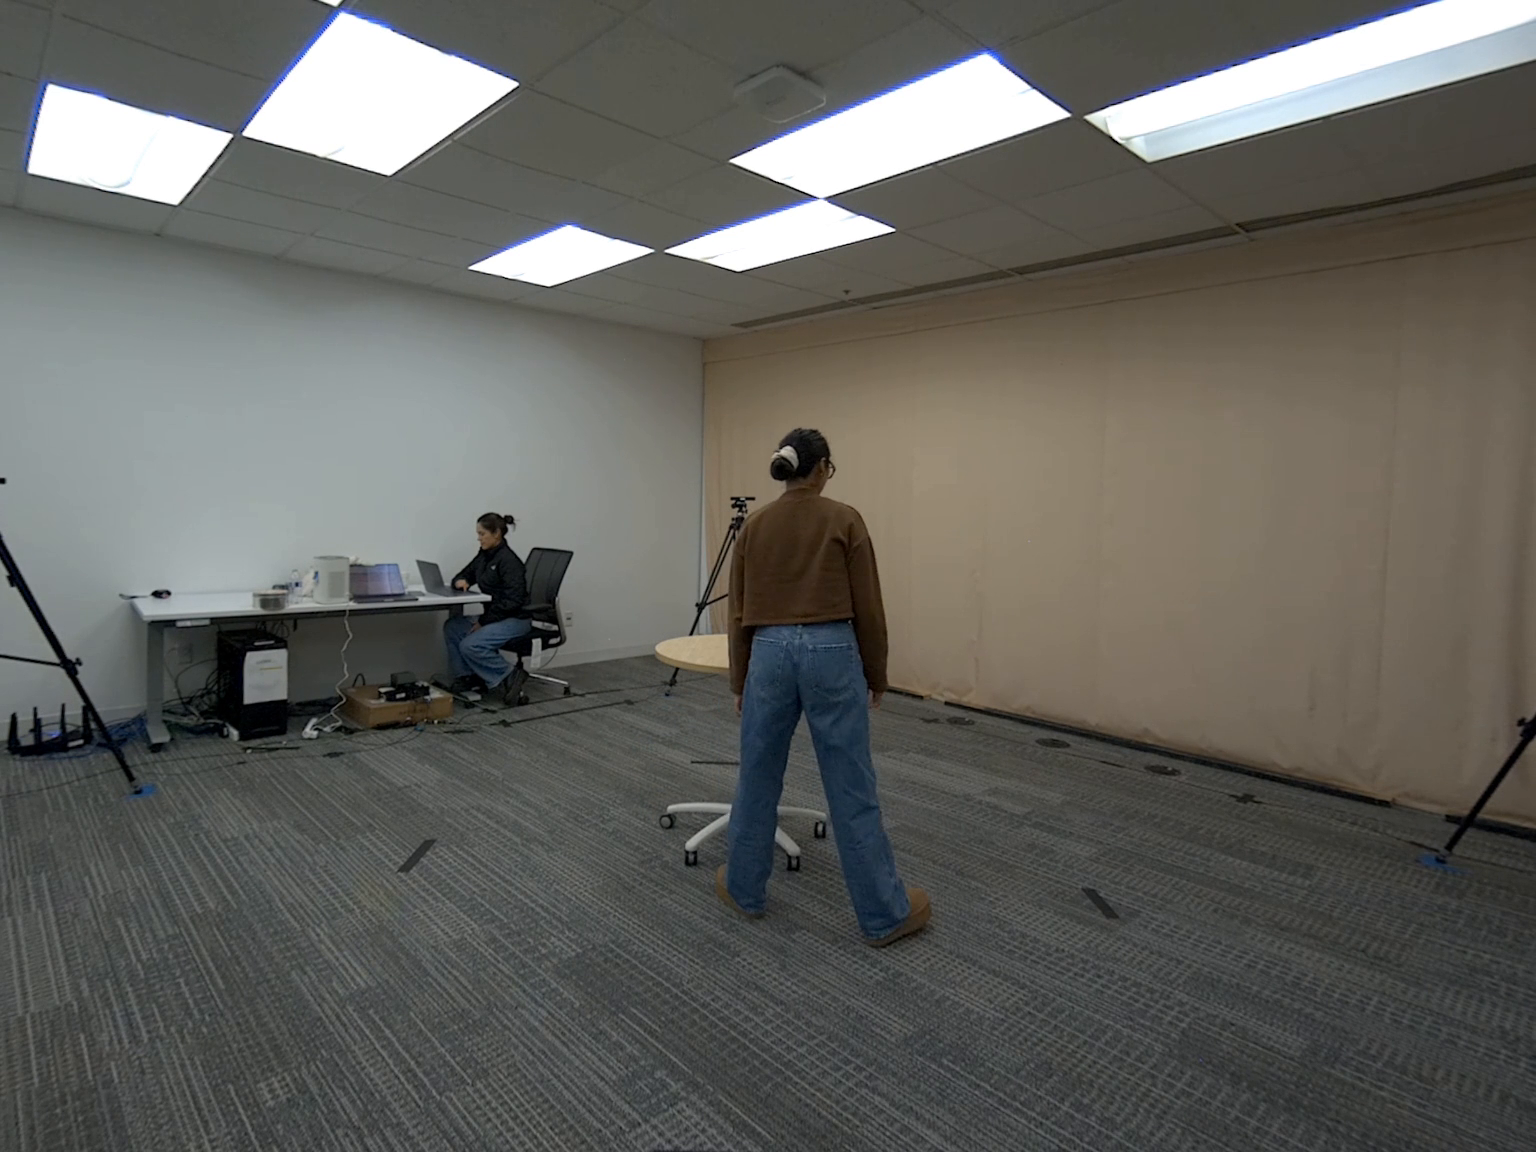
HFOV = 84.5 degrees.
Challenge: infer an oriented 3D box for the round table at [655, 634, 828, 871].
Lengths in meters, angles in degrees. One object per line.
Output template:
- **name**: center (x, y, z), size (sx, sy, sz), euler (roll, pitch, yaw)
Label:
- **round table**: center (-0.087, 0.692, 3.413), size (0.763, 0.792, 0.766), euler (2, 4, -1)
